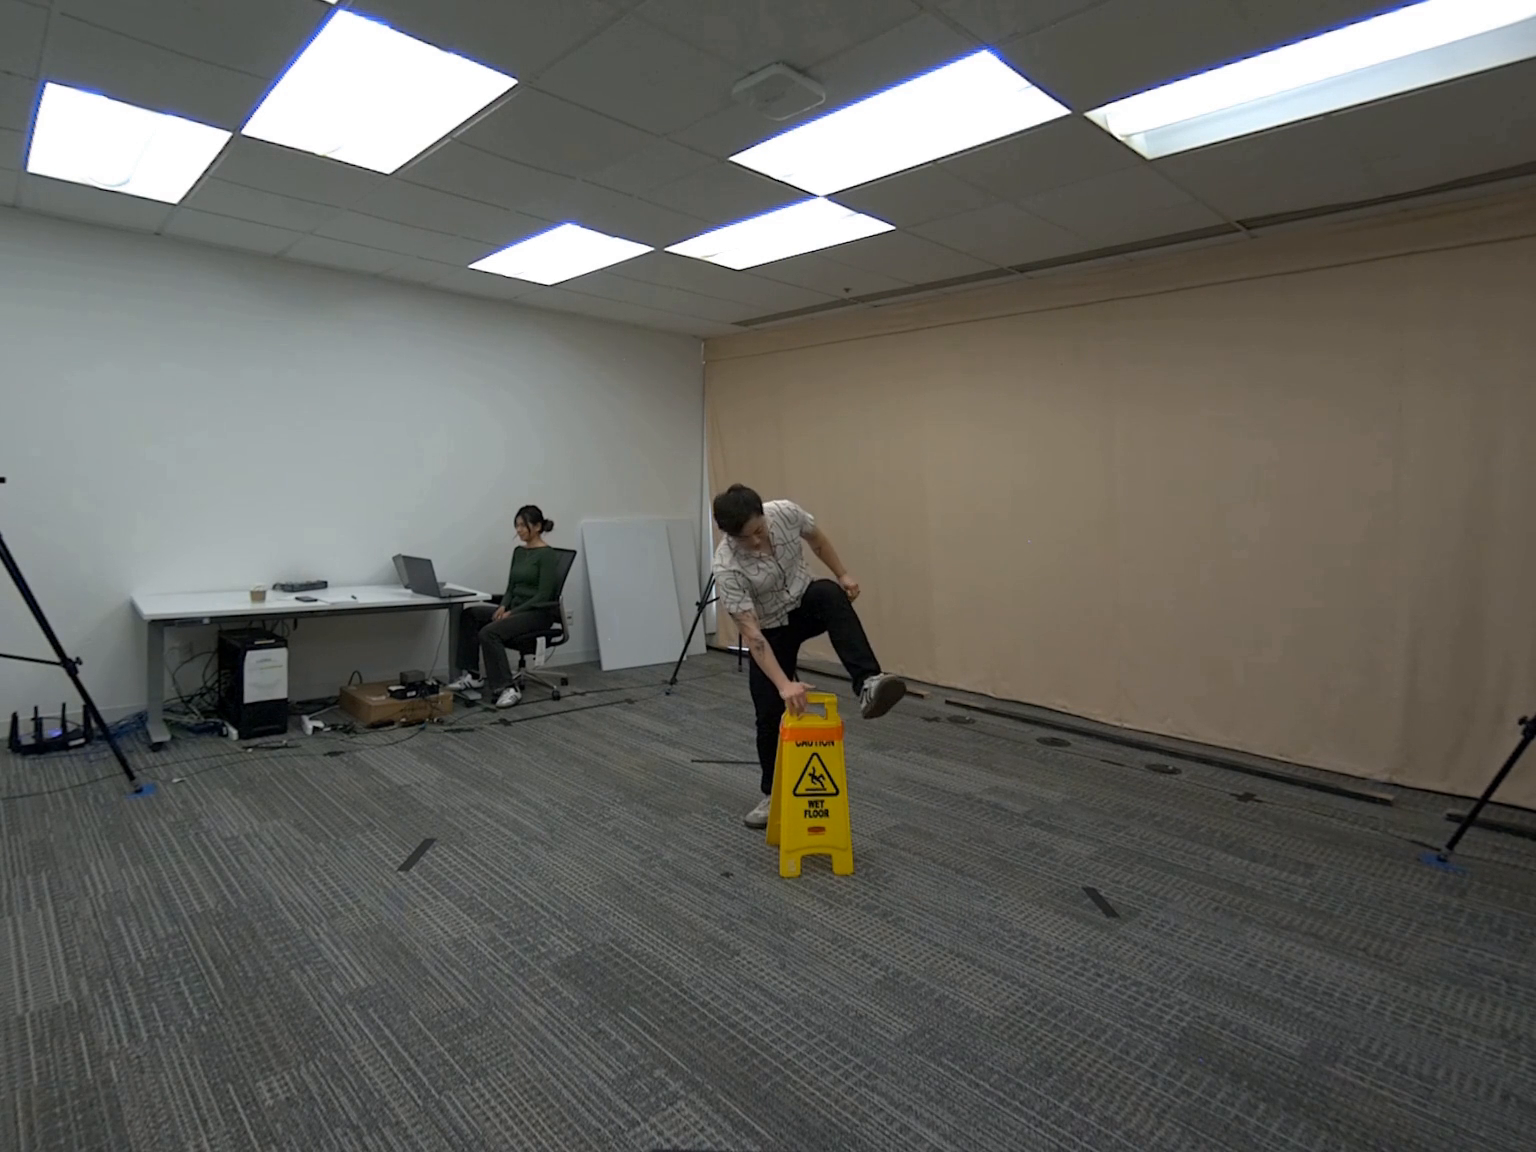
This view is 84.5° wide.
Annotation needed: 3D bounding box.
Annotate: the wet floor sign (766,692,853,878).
[{"bbox_3d":[0.153,0.770,3.245,0.280,0.645,0.292,1,2,-9],"label":"wet floor sign"}]
